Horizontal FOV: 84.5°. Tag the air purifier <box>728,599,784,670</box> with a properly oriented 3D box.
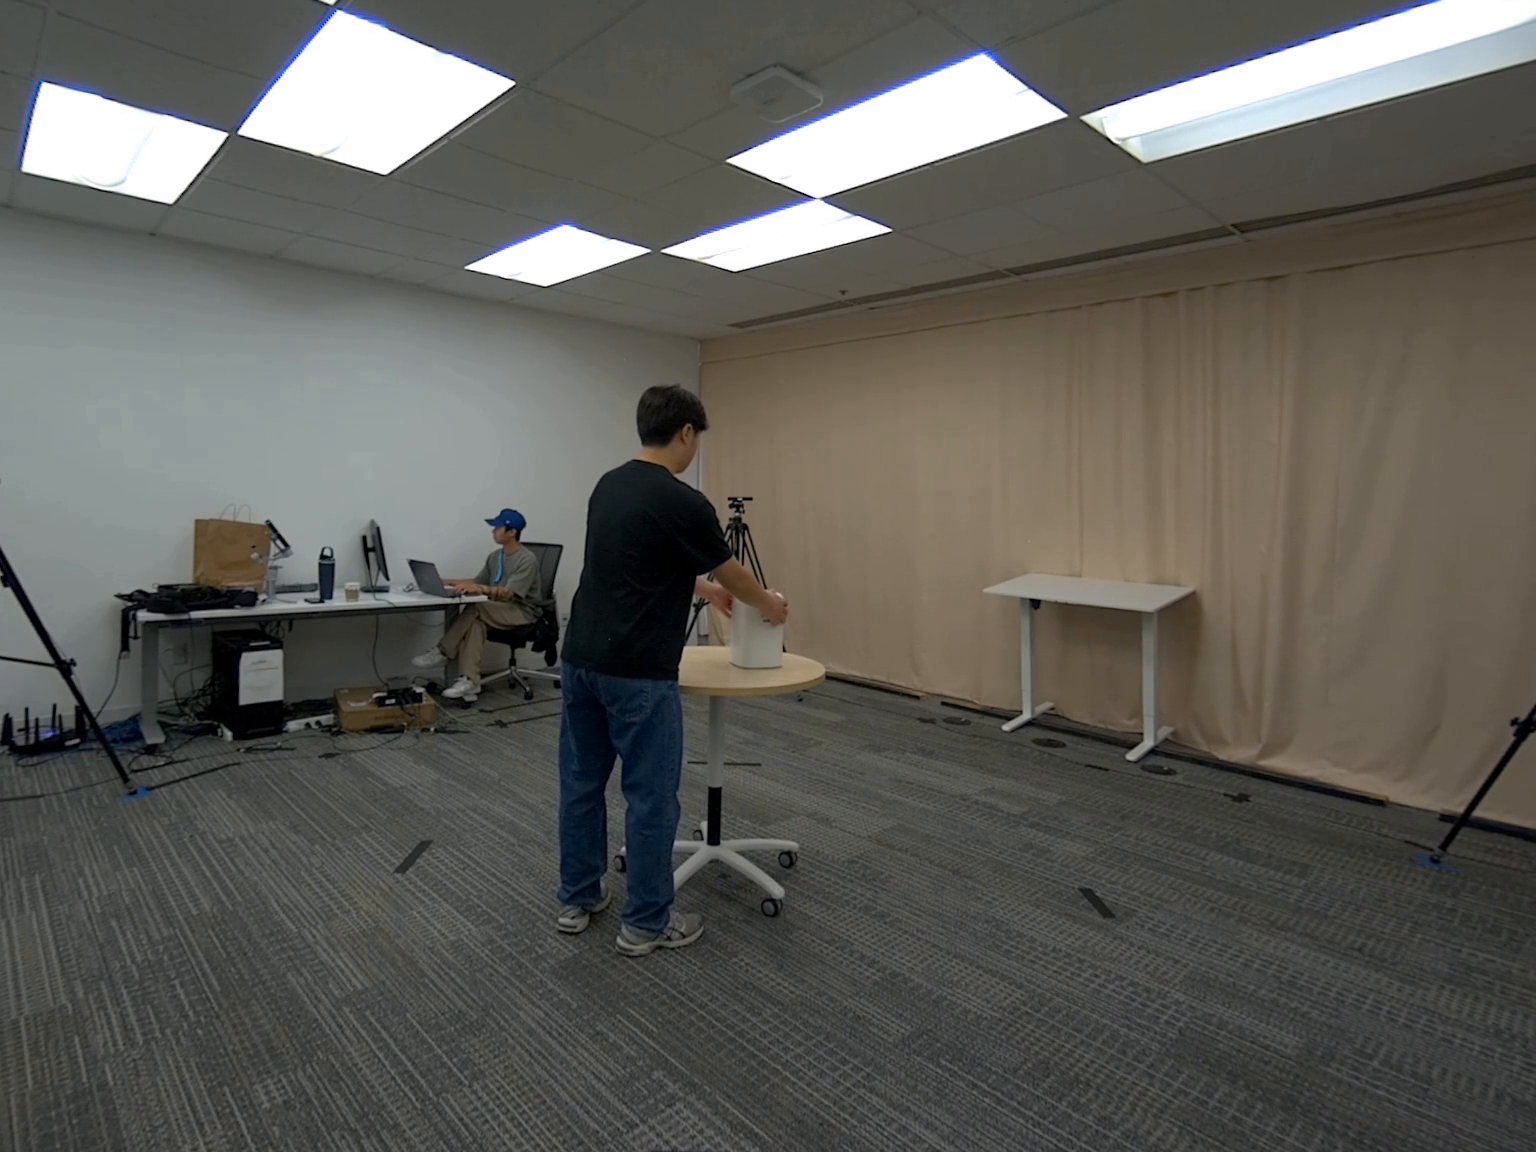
[{"bbox_3d":[-0.045,0.189,3.037,0.168,0.264,0.175,1,5,-20],"label":"air purifier"}]
